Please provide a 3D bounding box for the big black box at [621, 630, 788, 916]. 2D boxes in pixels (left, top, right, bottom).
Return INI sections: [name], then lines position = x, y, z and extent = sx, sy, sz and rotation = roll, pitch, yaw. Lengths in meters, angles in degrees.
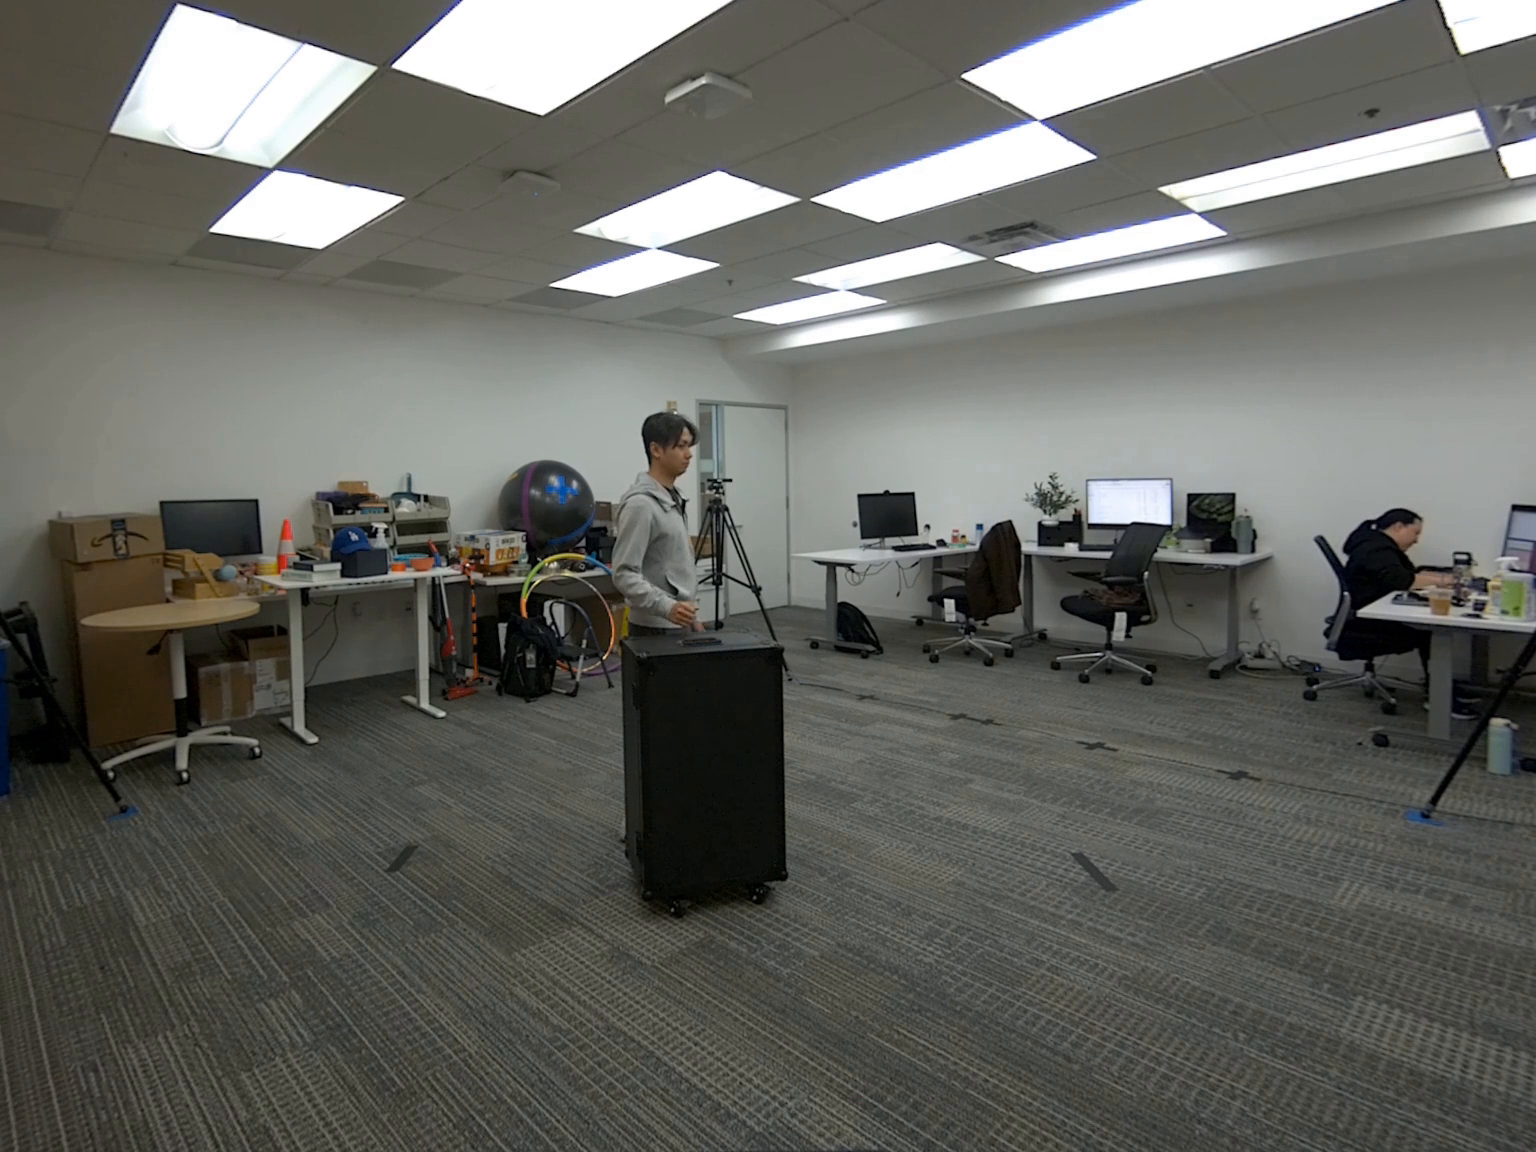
[big black box]
position = -0.232, 0.641, 2.914
extent = 0.513, 0.859, 0.403
rotation = -3, 3, -17
